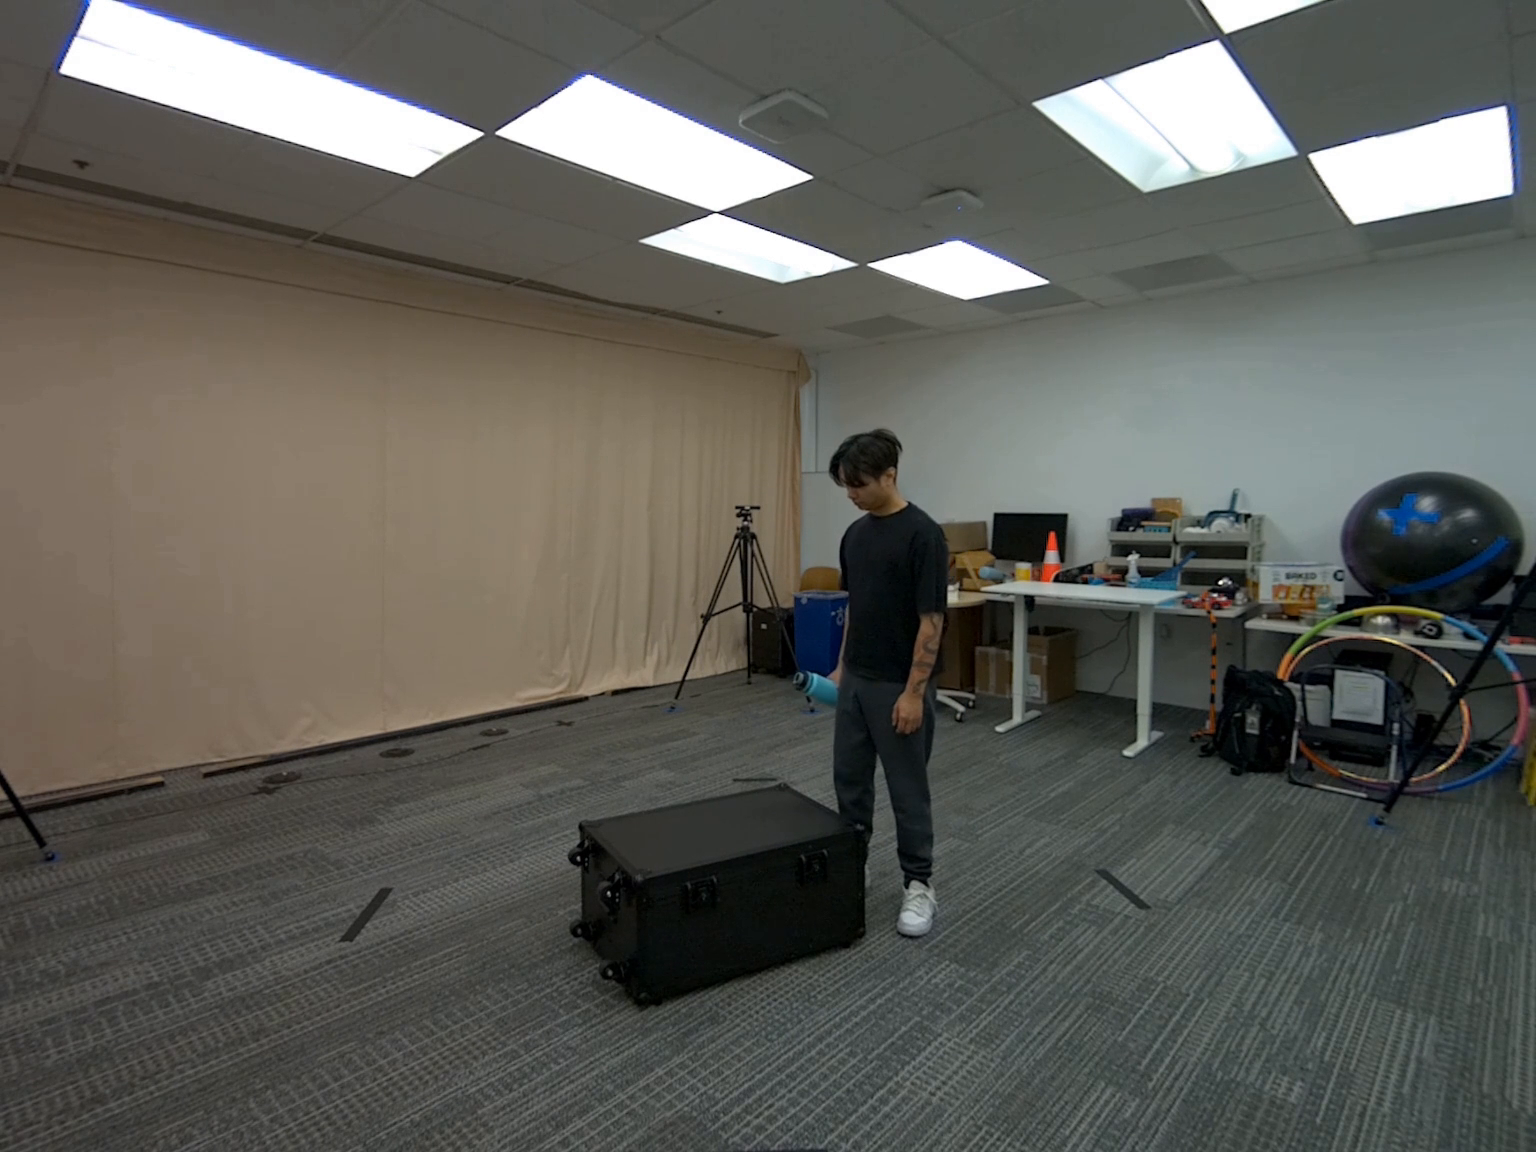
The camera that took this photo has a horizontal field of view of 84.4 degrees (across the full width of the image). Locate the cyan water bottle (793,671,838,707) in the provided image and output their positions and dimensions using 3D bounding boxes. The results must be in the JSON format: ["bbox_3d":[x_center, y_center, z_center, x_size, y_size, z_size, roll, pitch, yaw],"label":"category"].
[{"bbox_3d":[0.225,0.433,3.124,0.278,0.092,0.094,24,-3,-14],"label":"cyan water bottle"}]
